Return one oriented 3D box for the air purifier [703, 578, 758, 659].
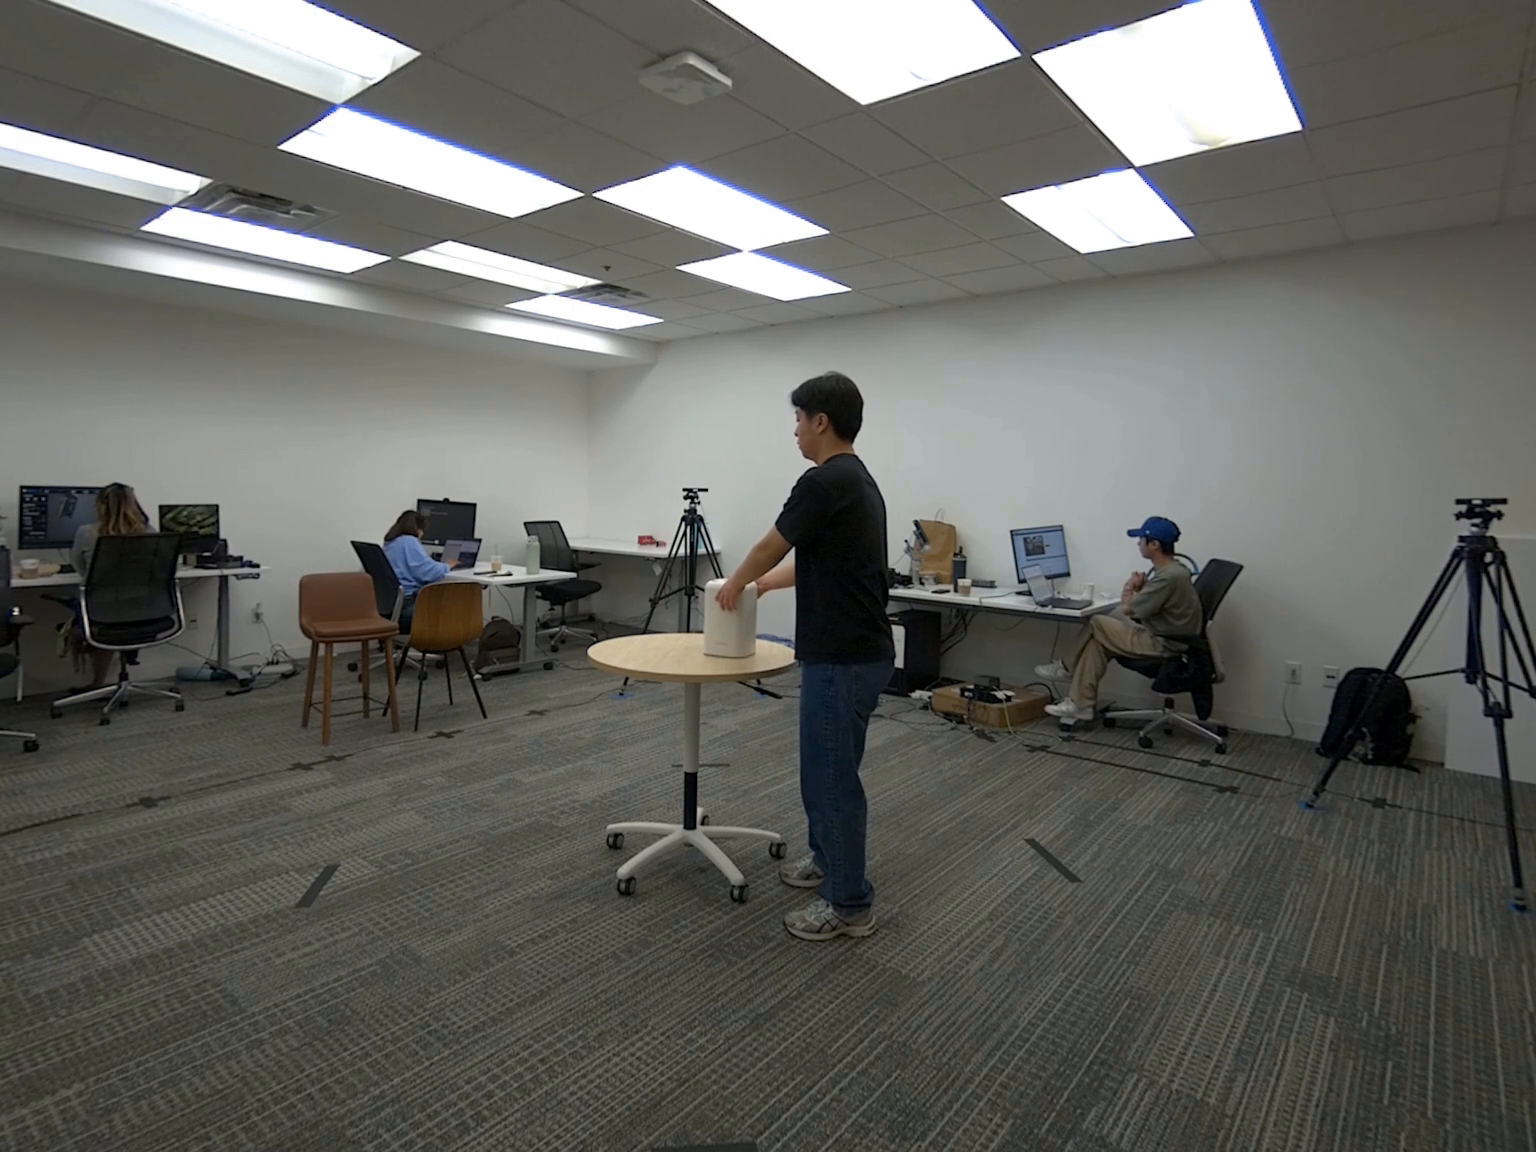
[{"bbox_3d":[-0.148,0.145,3.085,0.175,0.264,0.168,4,4,21],"label":"air purifier"}]
